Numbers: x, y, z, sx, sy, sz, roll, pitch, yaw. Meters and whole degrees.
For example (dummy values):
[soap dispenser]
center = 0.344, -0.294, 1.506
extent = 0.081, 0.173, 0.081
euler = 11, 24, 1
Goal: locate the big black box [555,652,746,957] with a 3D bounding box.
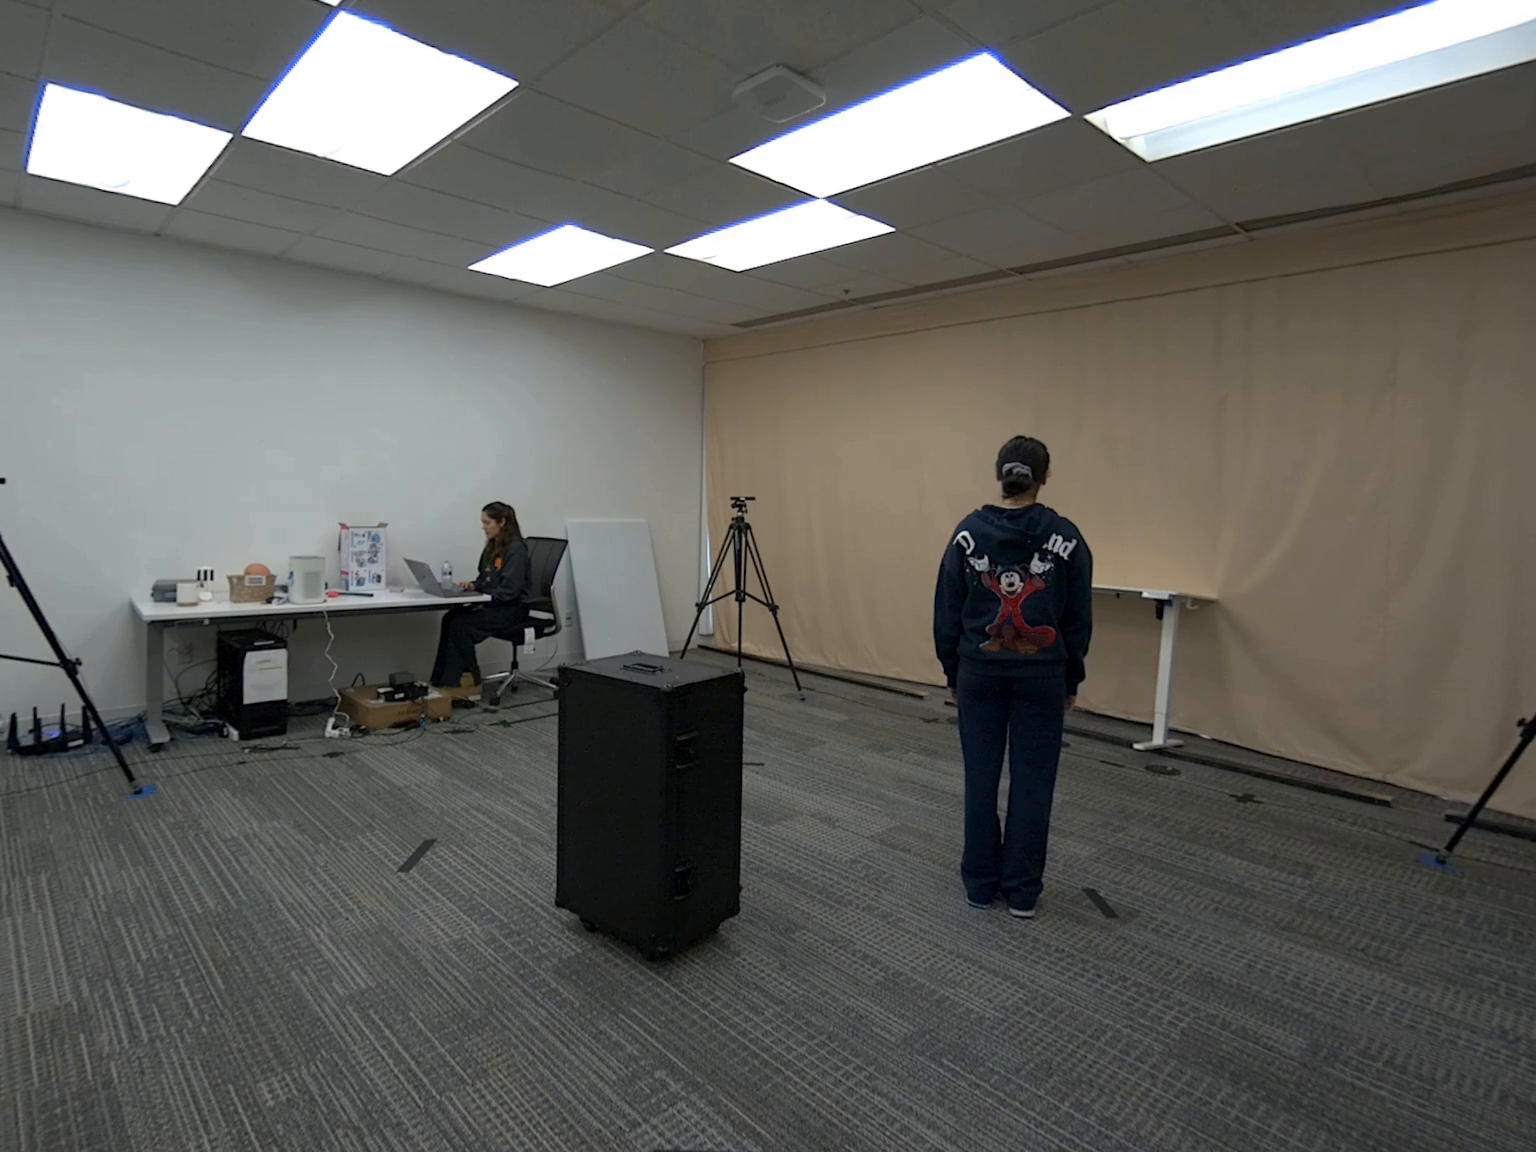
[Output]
[big black box]
center = -0.371, 0.724, 2.671
extent = 0.406, 0.859, 0.510
euler = 4, 5, 38
